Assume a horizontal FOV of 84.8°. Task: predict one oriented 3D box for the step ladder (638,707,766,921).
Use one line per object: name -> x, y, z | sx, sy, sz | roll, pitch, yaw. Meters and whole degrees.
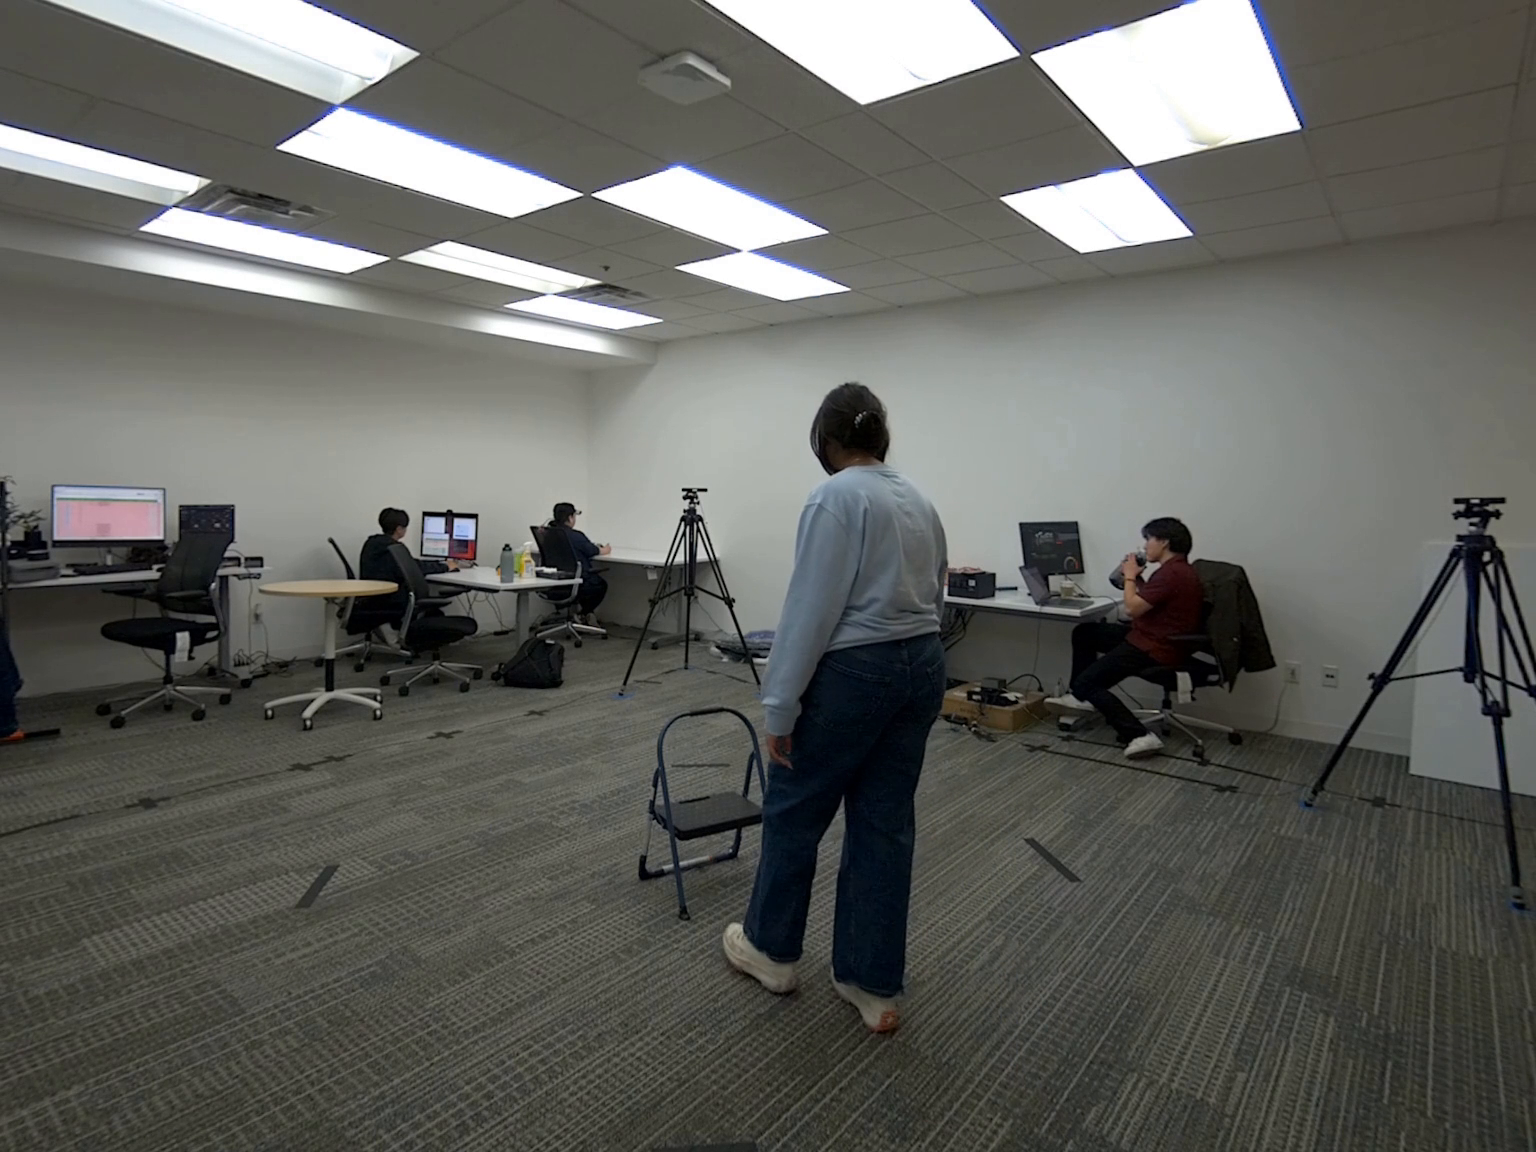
step ladder -> -0.200, 0.779, 2.974 | 0.418, 0.604, 0.360 | -1, 4, -34
